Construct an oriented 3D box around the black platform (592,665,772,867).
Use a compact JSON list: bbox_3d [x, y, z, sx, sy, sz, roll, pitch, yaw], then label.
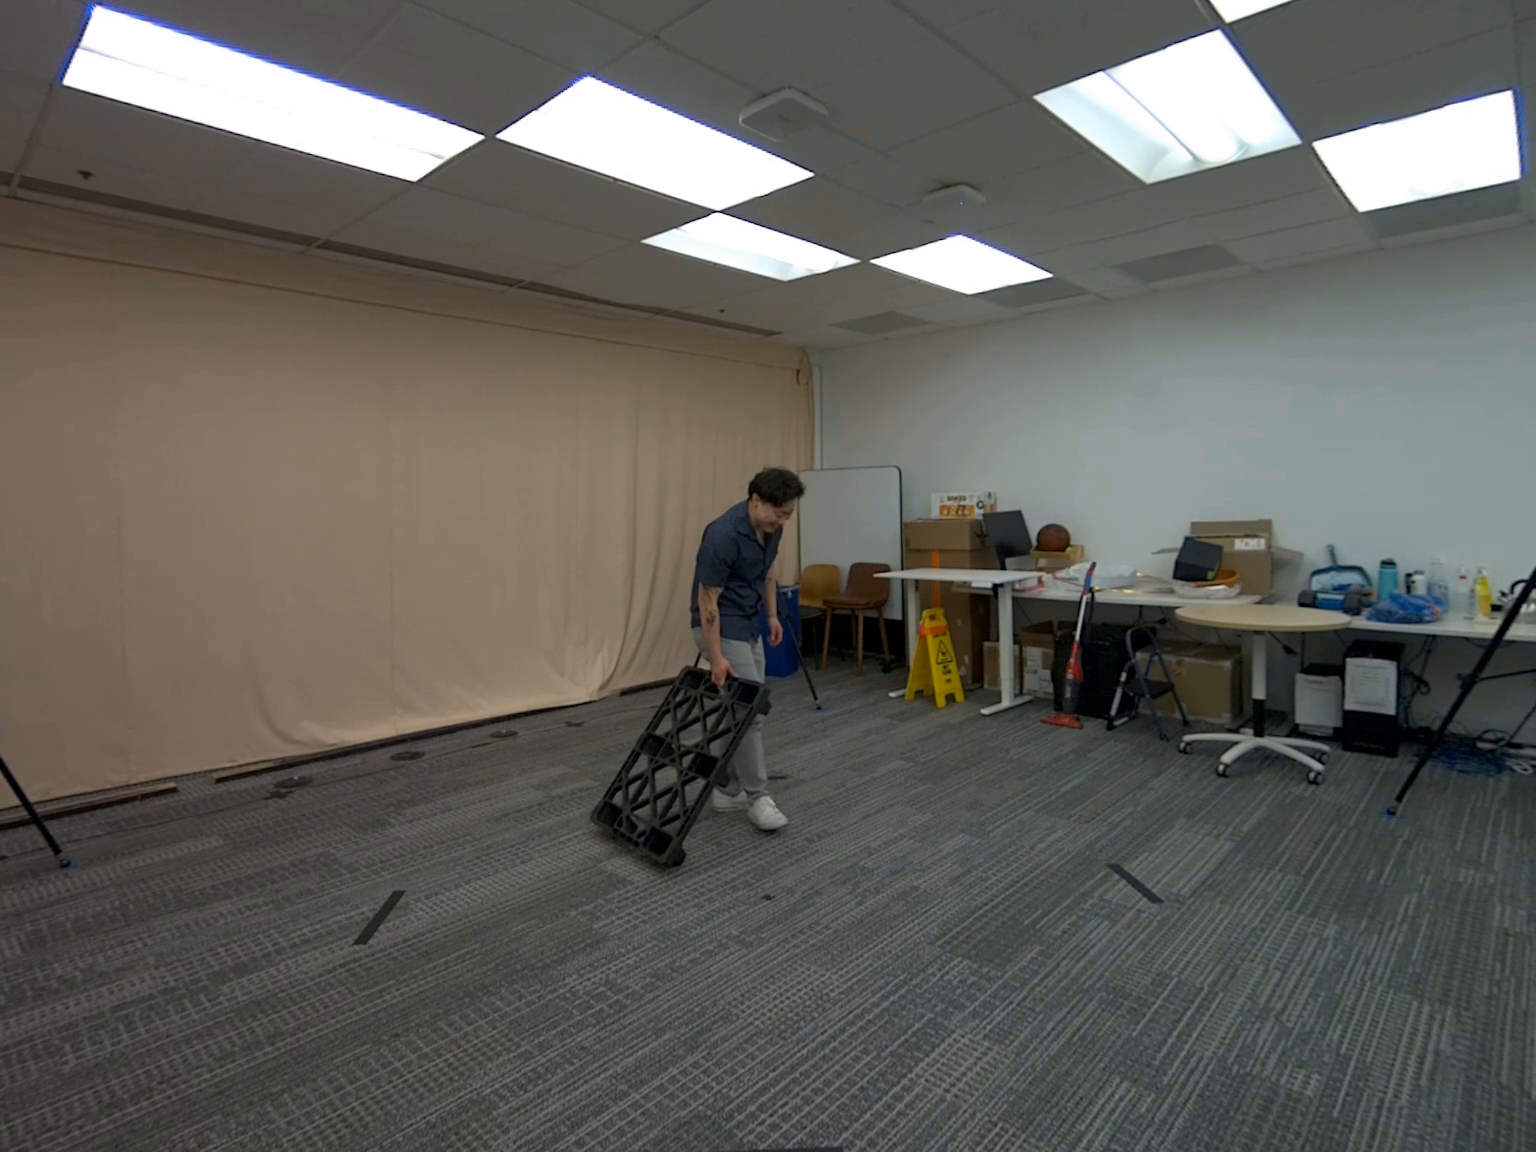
[{"bbox_3d":[-0.353,0.781,3.542,0.624,0.805,0.139,3,-35,51],"label":"black platform"}]
